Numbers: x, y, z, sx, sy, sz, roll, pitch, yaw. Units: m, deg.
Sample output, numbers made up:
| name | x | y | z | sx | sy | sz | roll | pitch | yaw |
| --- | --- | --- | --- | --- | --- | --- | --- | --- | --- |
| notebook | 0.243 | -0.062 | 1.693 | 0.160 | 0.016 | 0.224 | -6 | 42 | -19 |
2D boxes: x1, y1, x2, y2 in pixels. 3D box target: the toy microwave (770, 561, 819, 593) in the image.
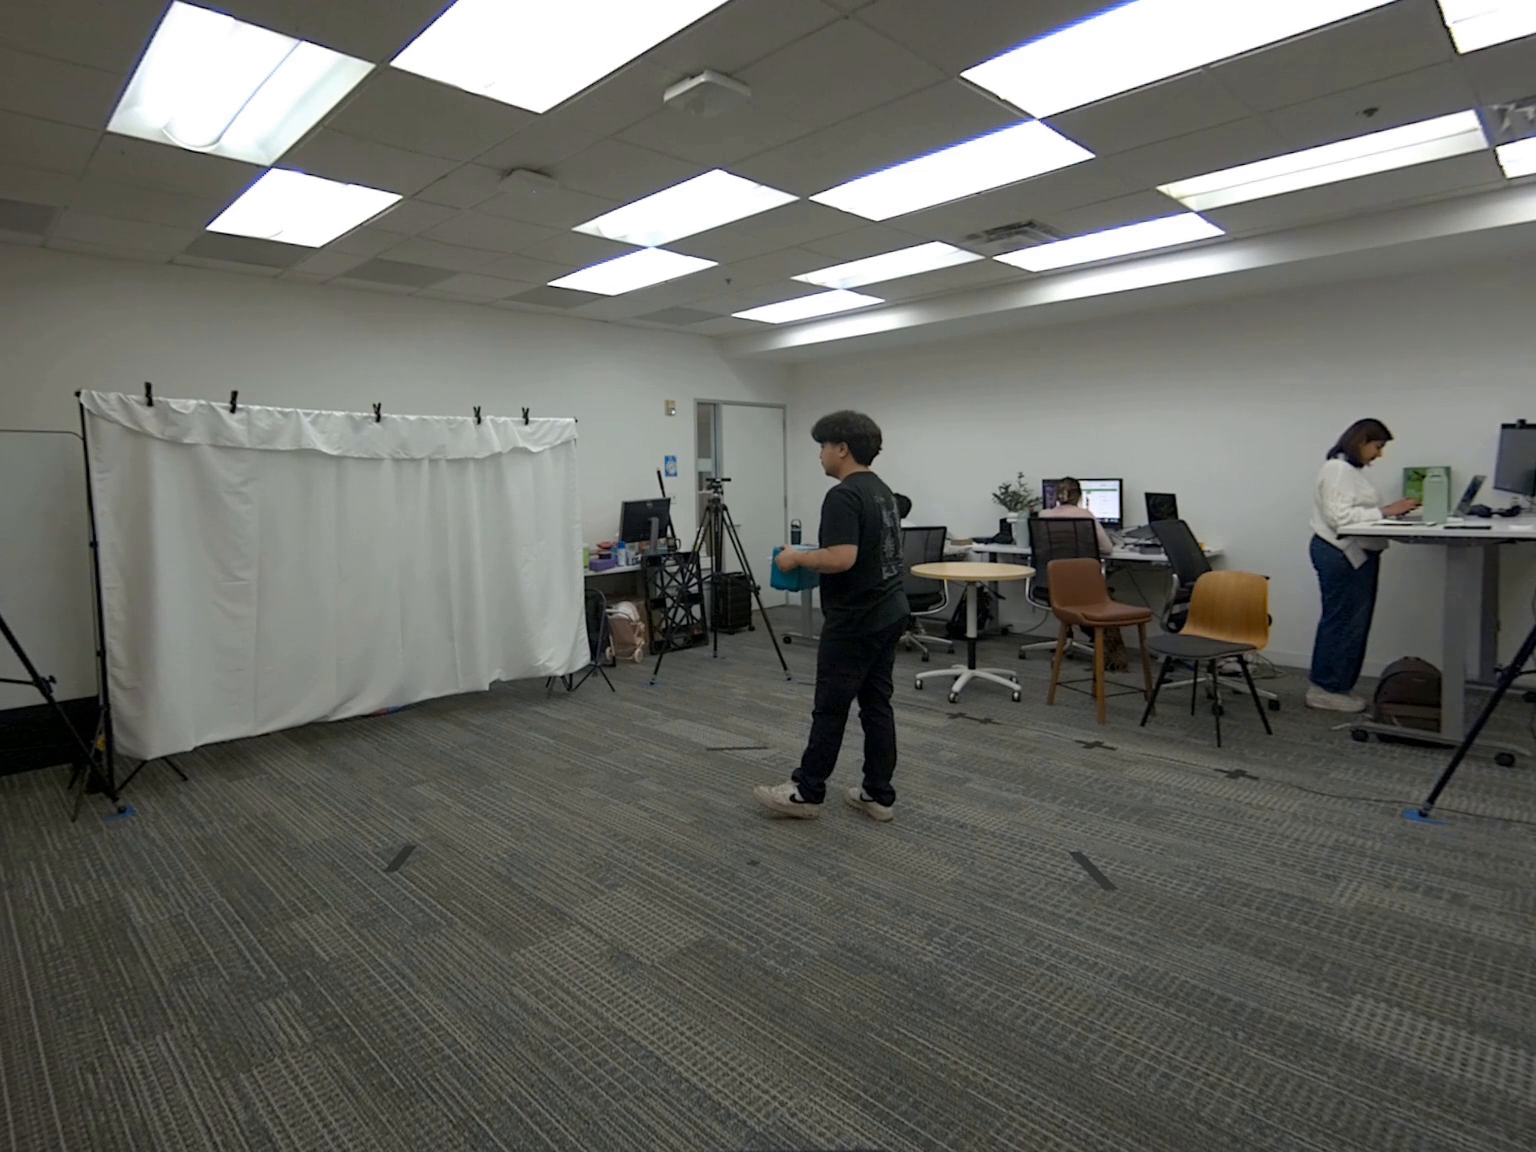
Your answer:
| name | x | y | z | sx | sy | sz | roll | pitch | yaw |
| --- | --- | --- | --- | --- | --- | --- | --- | --- | --- |
| toy microwave | 0.124 | -0.038 | 3.672 | 0.156 | 0.183 | 0.280 | 7 | 6 | 27 |
